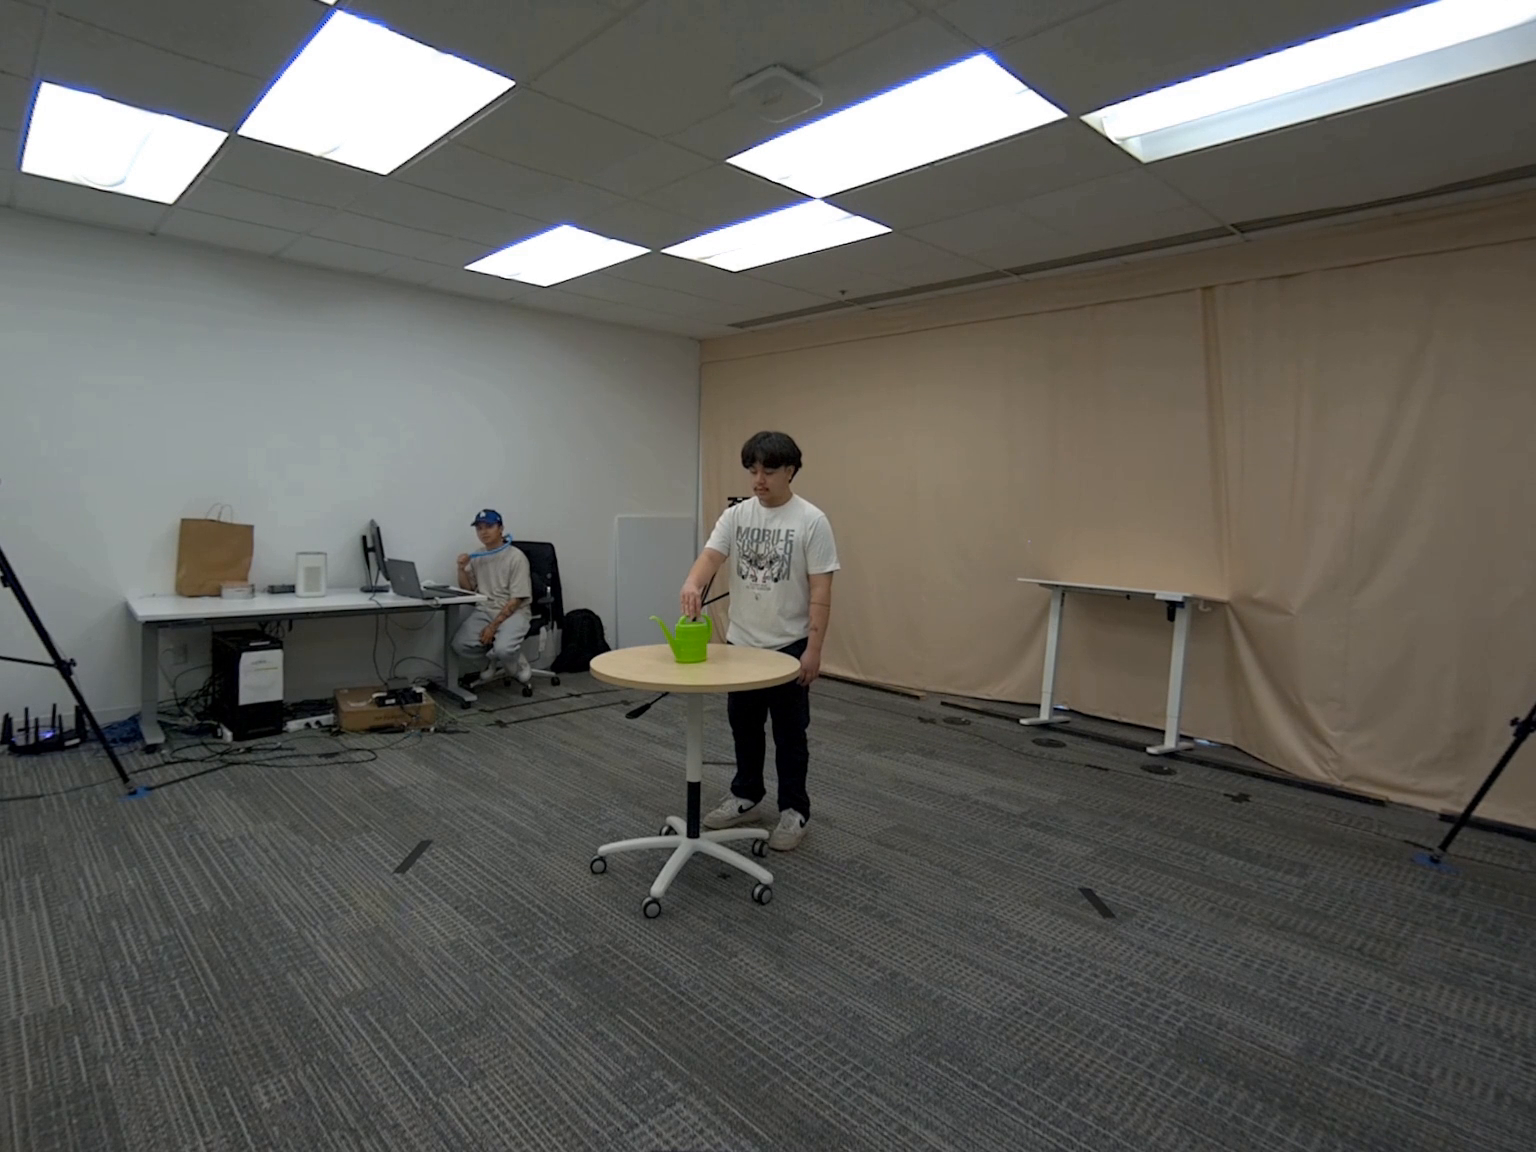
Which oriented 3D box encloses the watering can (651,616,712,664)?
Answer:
[{"bbox_3d":[-0.329,0.227,3.070,0.272,0.177,0.100,1,1,-31],"label":"watering can"}]
